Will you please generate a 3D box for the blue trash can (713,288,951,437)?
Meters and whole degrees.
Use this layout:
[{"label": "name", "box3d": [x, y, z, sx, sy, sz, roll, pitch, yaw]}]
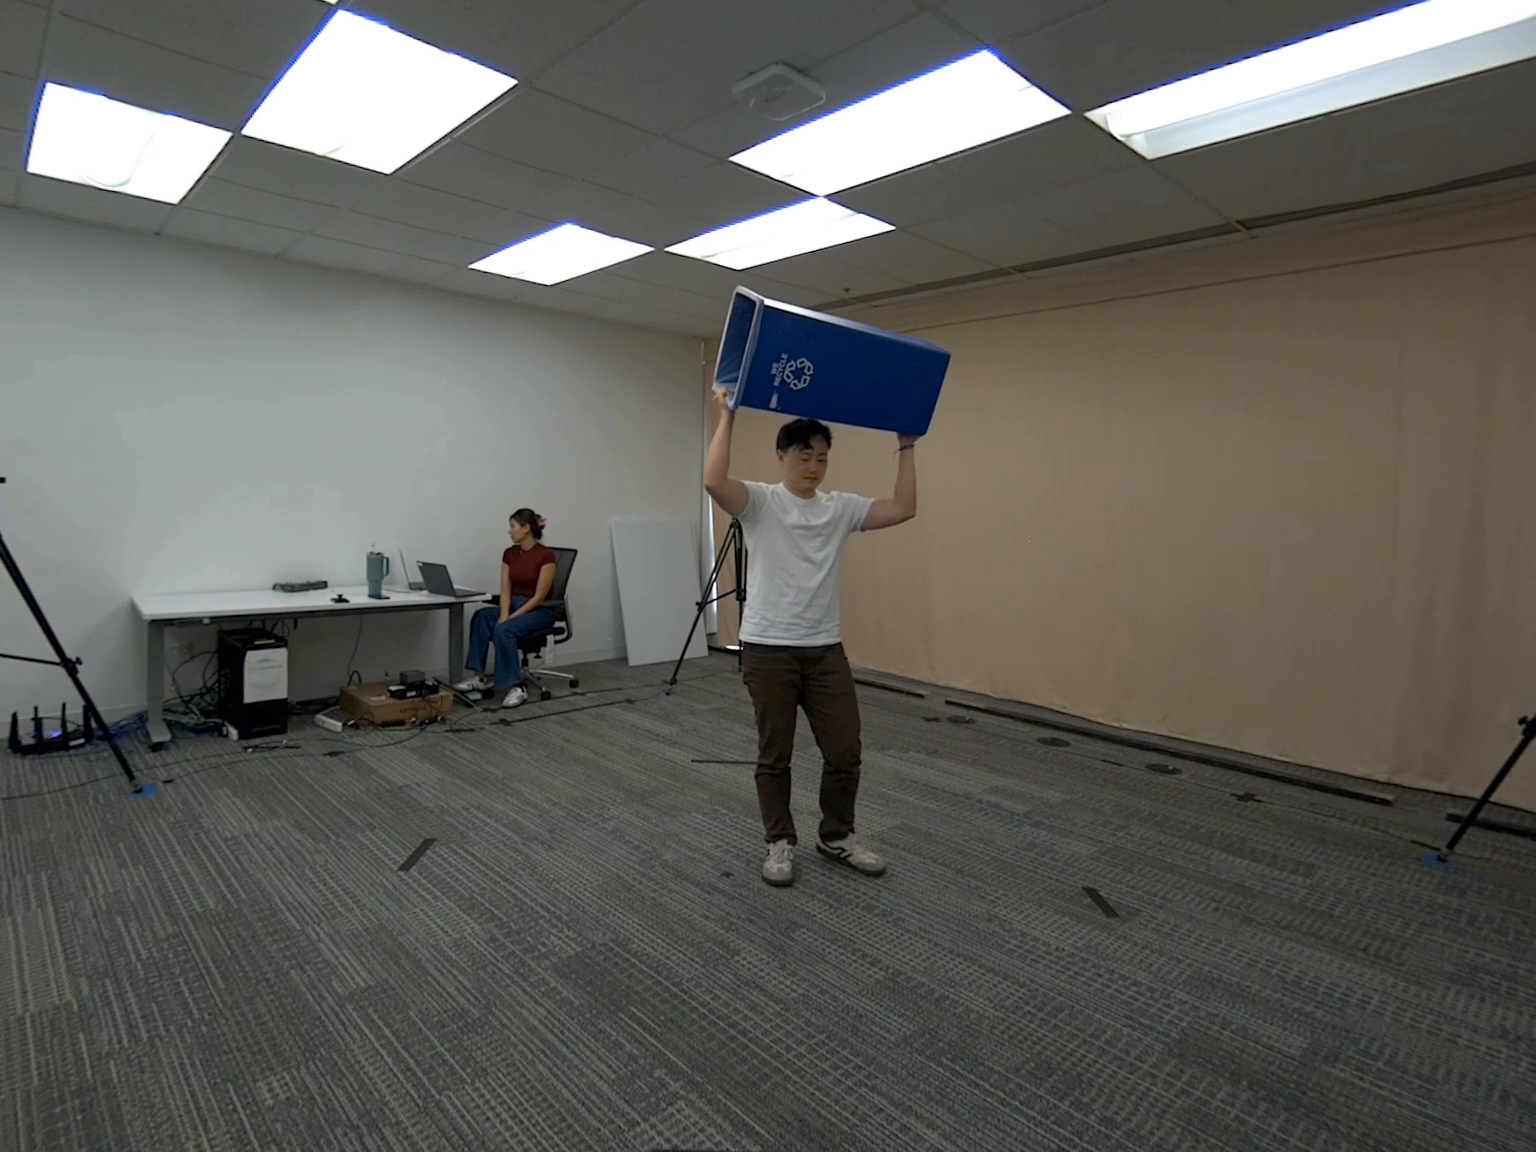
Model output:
[{"label": "blue trash can", "box3d": [0.215, -0.728, 2.919, 0.704, 0.374, 0.383, 8, 22, -16]}]
